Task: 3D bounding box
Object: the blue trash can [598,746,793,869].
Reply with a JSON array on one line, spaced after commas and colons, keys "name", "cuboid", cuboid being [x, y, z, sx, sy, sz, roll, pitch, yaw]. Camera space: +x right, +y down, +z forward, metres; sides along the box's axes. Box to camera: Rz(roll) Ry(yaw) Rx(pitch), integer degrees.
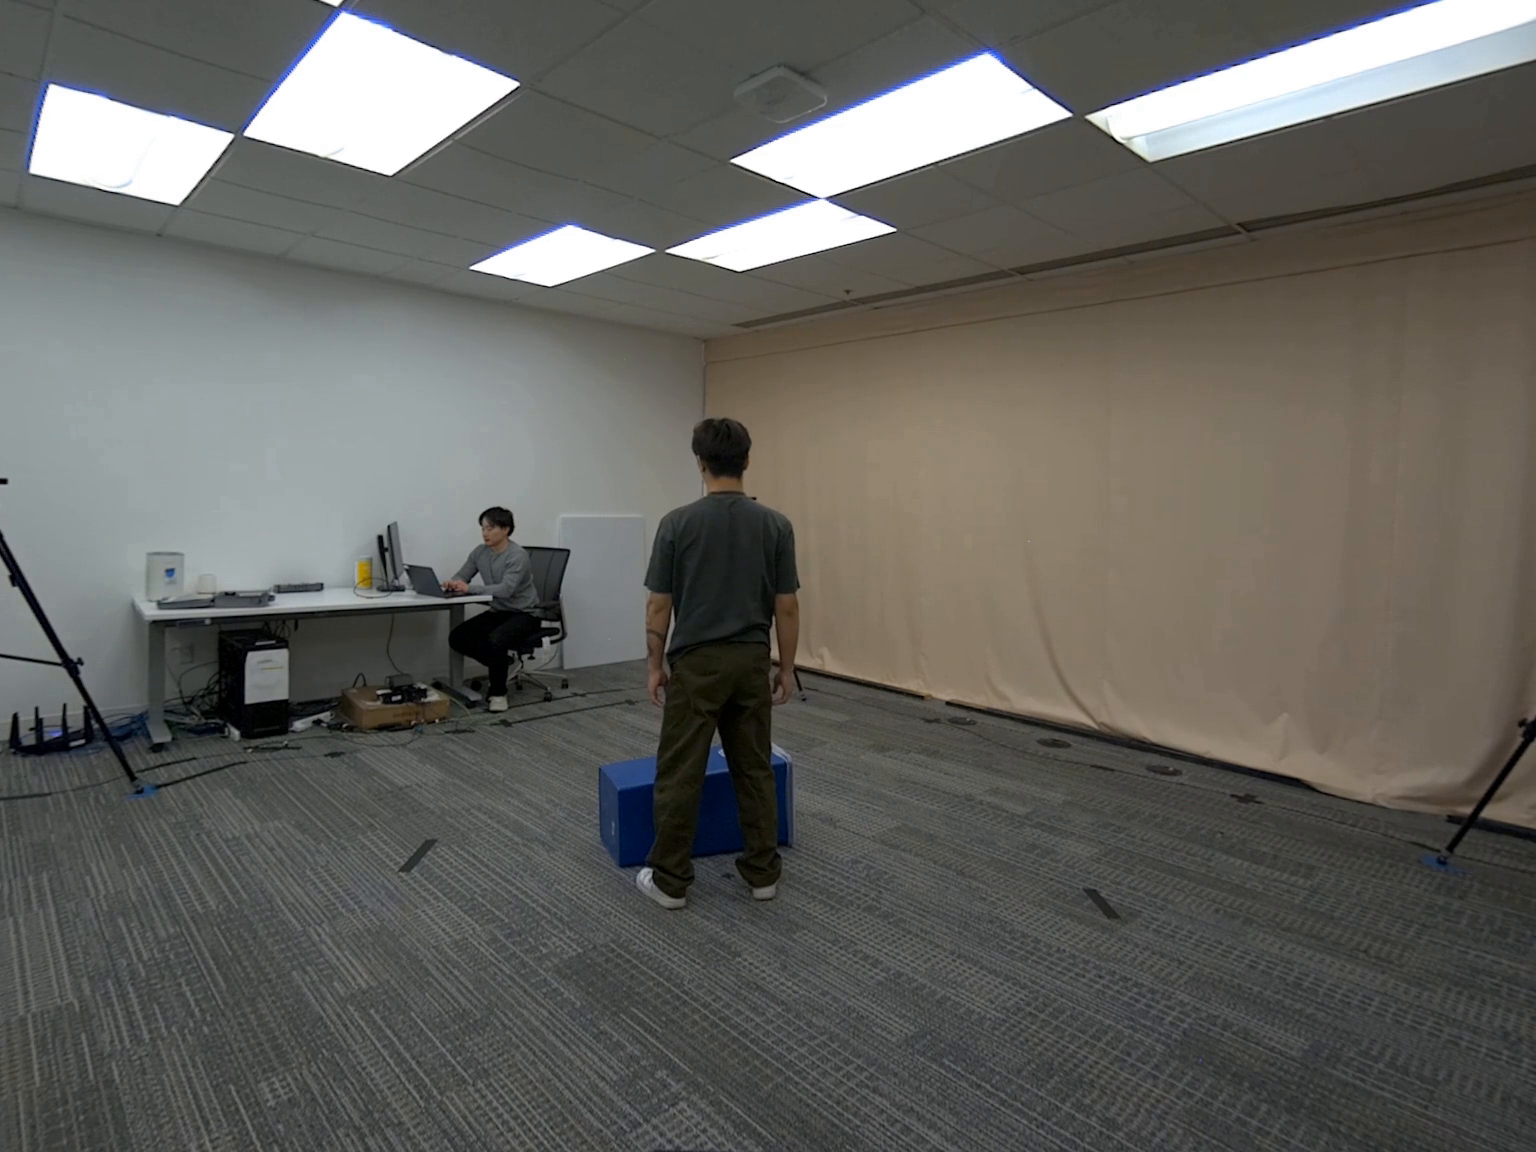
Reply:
[{"name": "blue trash can", "cuboid": [-0.303, 0.912, 3.399, 0.702, 0.372, 0.385, -4, 6, -22]}]
